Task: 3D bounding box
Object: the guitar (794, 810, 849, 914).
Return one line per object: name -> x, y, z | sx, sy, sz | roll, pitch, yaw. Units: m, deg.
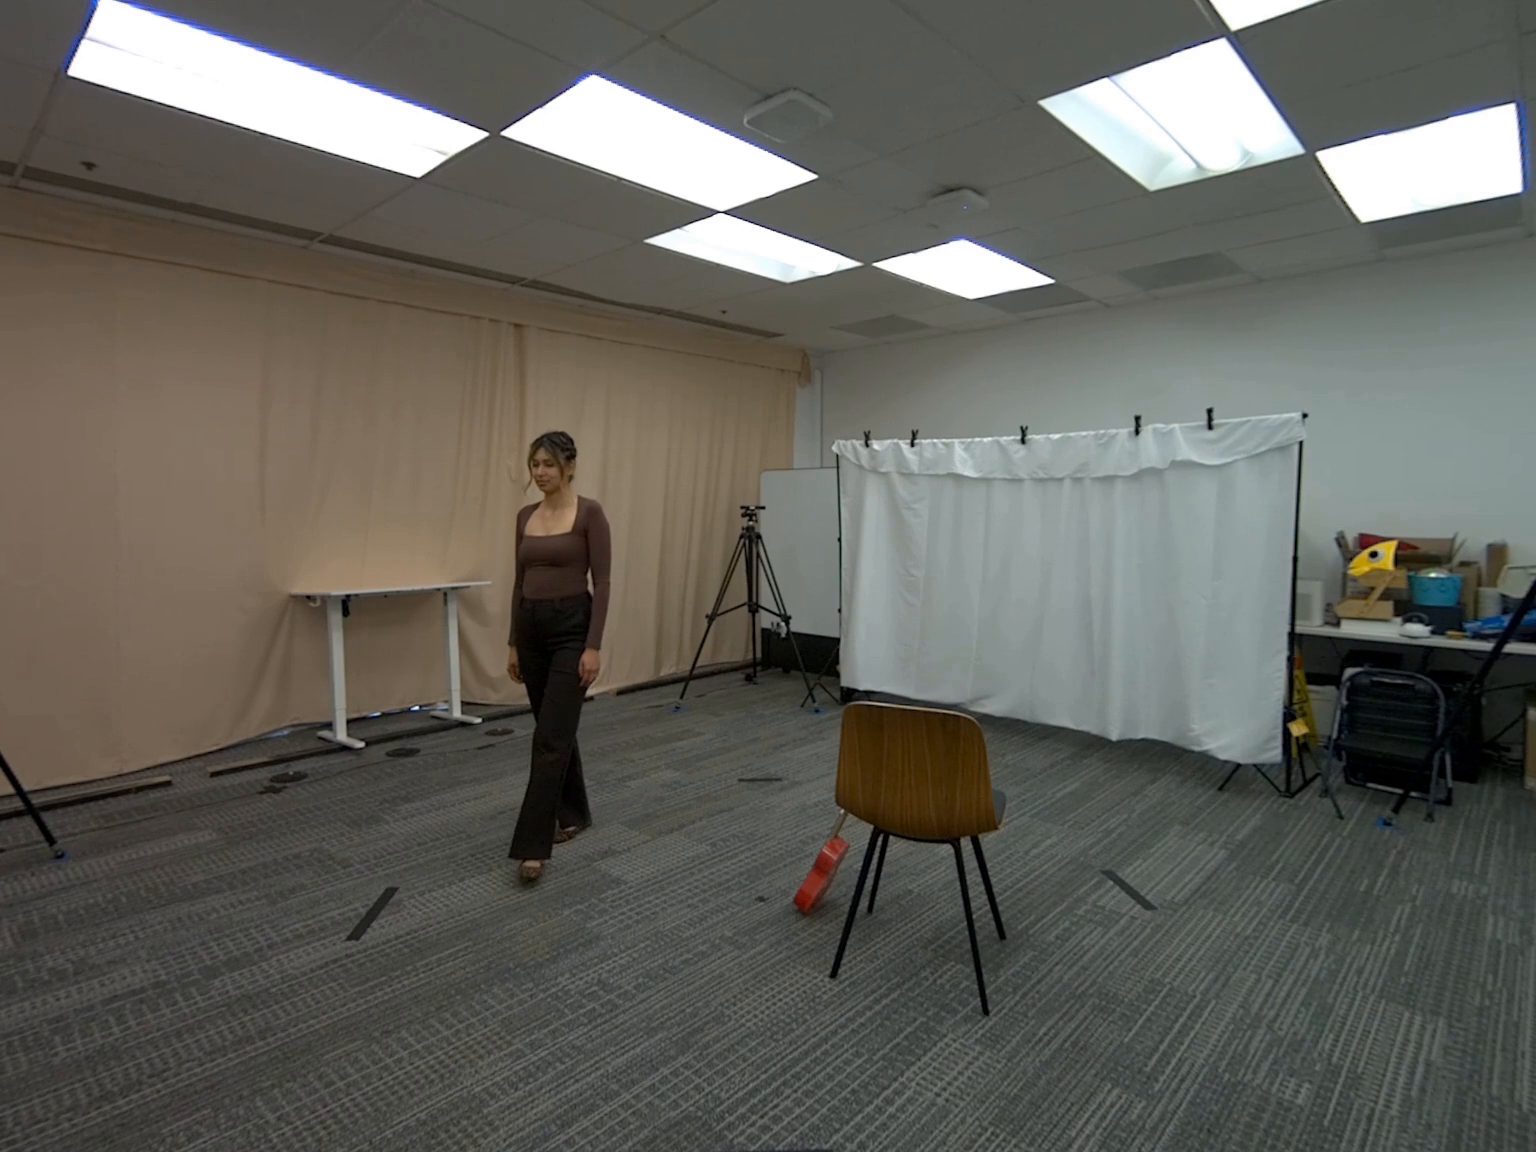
guitar -> 0.218, 0.926, 2.842 | 0.072, 0.496, 0.188 | 30, 23, 21
